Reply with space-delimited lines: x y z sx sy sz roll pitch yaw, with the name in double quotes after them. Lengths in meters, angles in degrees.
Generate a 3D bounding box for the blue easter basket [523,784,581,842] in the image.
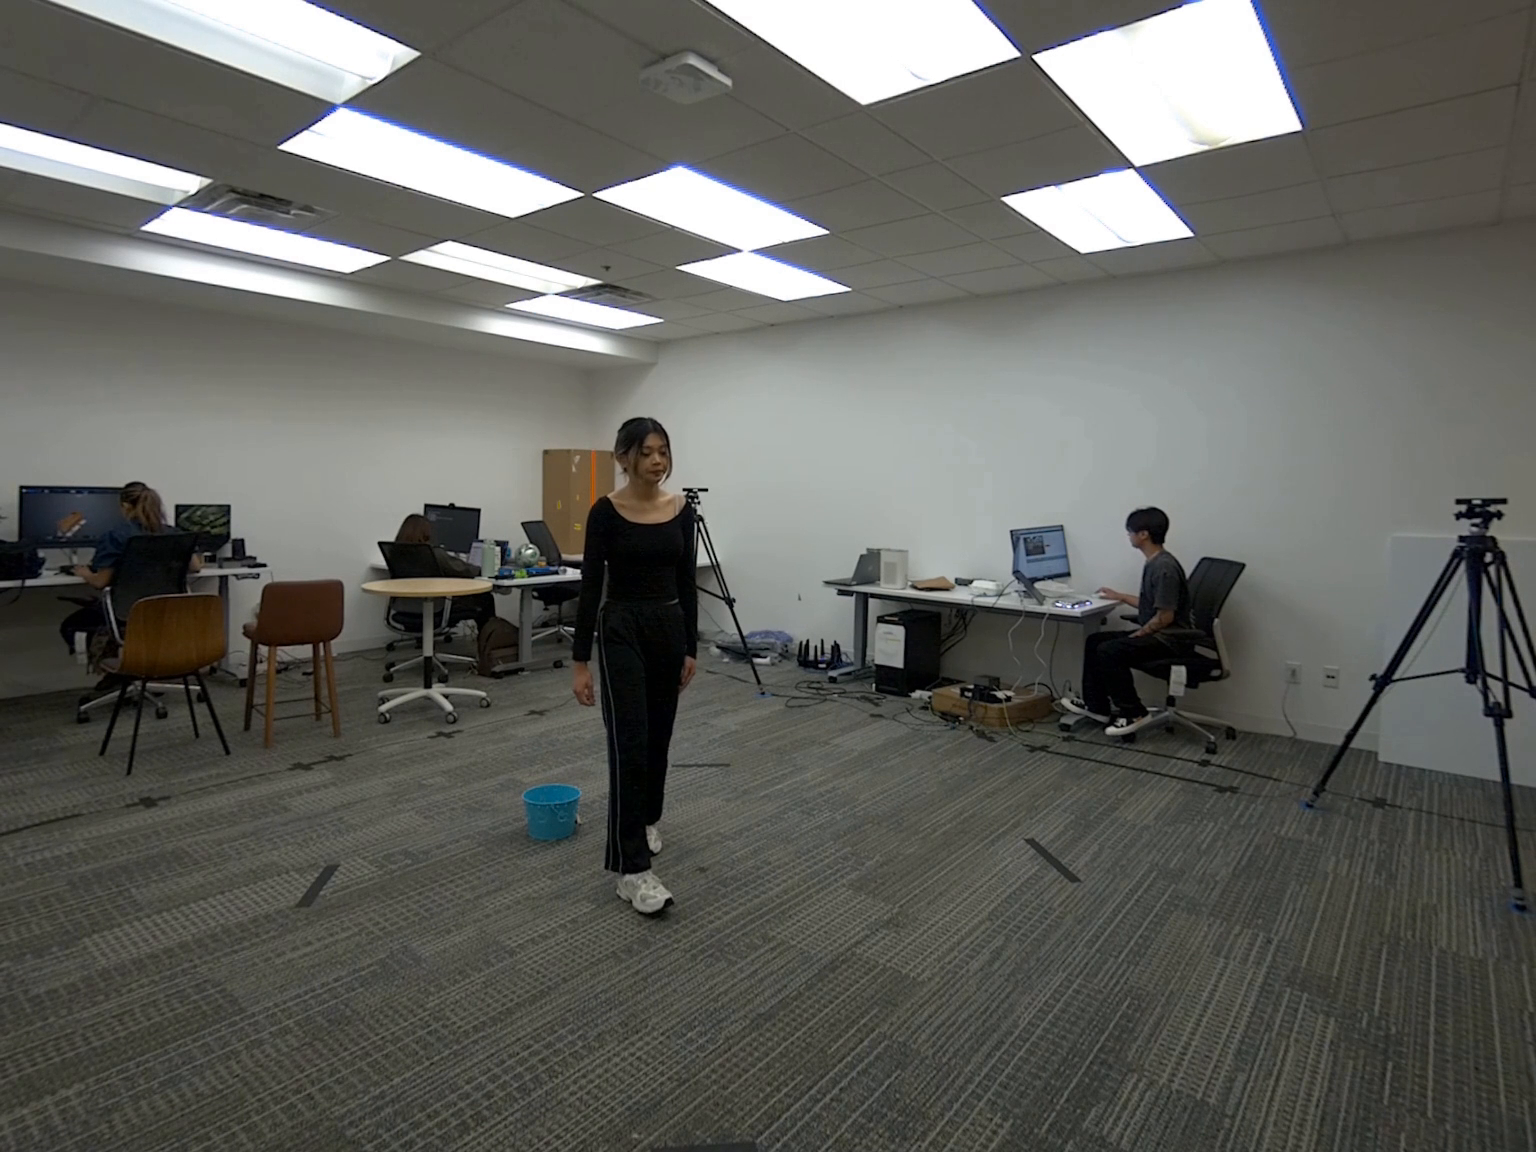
-0.883 0.946 3.434 0.243 0.155 0.244 1 3 -2 "blue easter basket"
